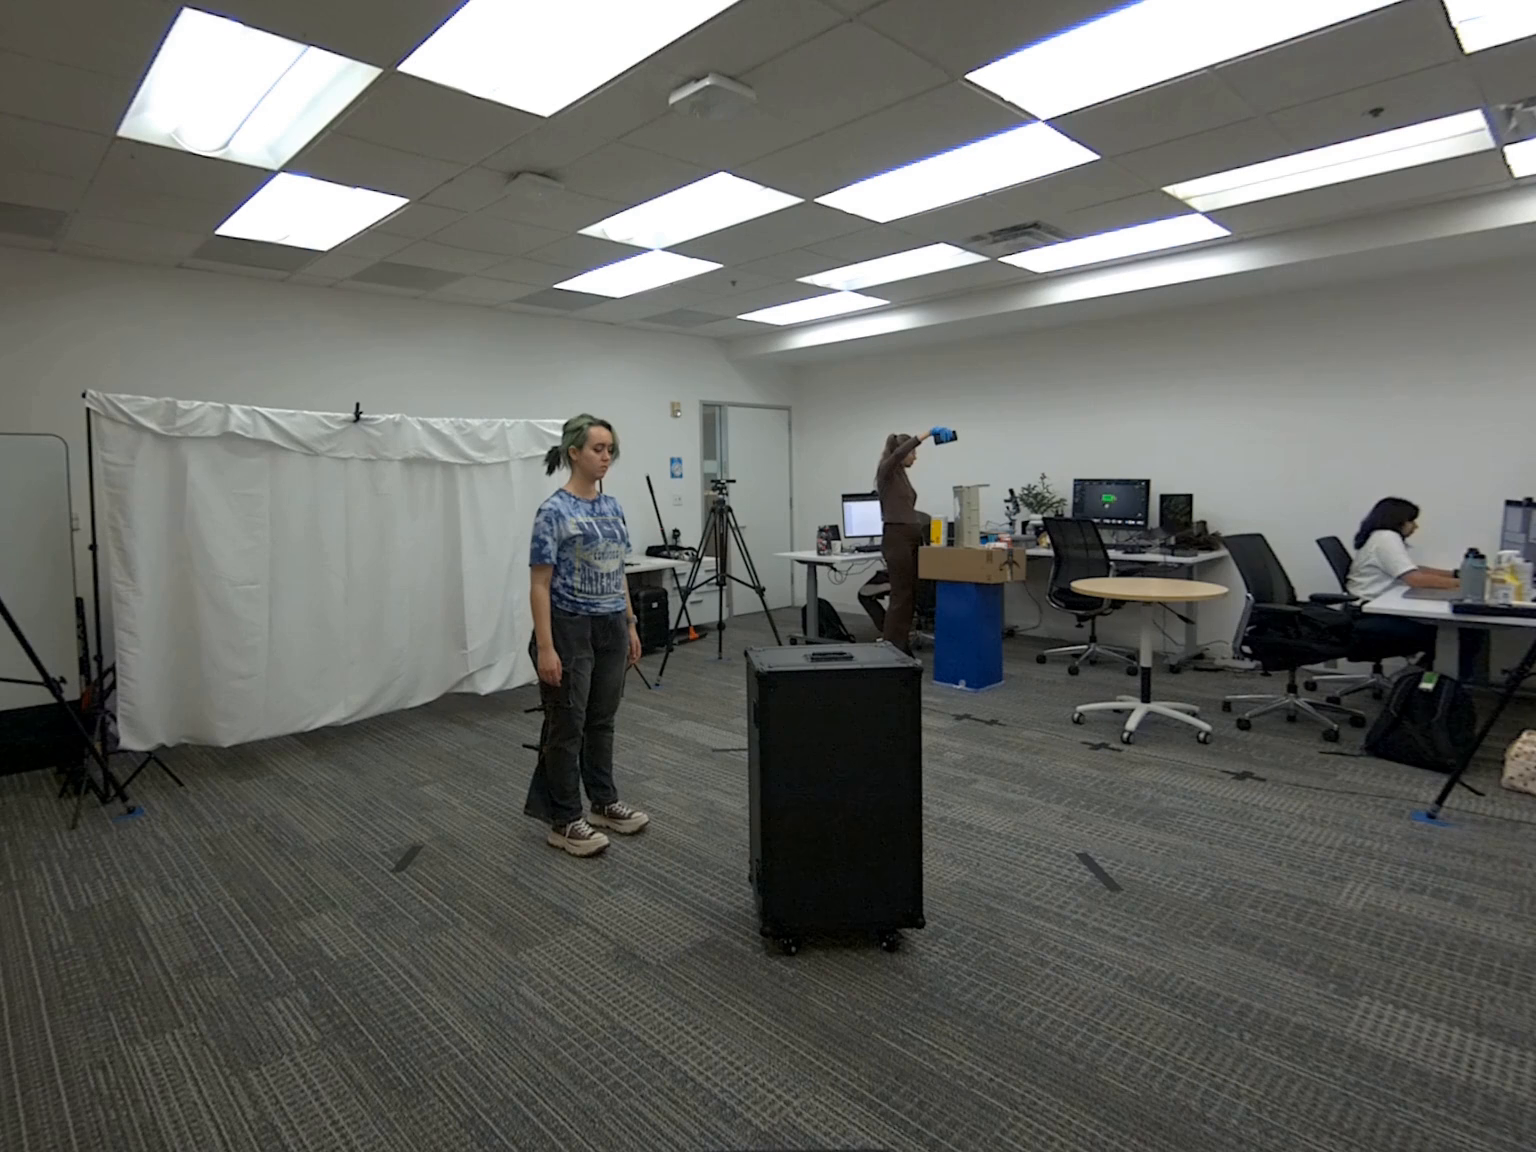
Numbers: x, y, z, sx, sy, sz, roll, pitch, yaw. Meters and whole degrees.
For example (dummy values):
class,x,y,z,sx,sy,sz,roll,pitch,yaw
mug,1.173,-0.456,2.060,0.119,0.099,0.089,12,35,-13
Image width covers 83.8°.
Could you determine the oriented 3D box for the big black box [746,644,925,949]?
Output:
class,x,y,z,sx,sy,sz,roll,pitch,yaw
big black box,0.190,0.668,2.654,0.519,0.859,0.399,-2,3,-4
